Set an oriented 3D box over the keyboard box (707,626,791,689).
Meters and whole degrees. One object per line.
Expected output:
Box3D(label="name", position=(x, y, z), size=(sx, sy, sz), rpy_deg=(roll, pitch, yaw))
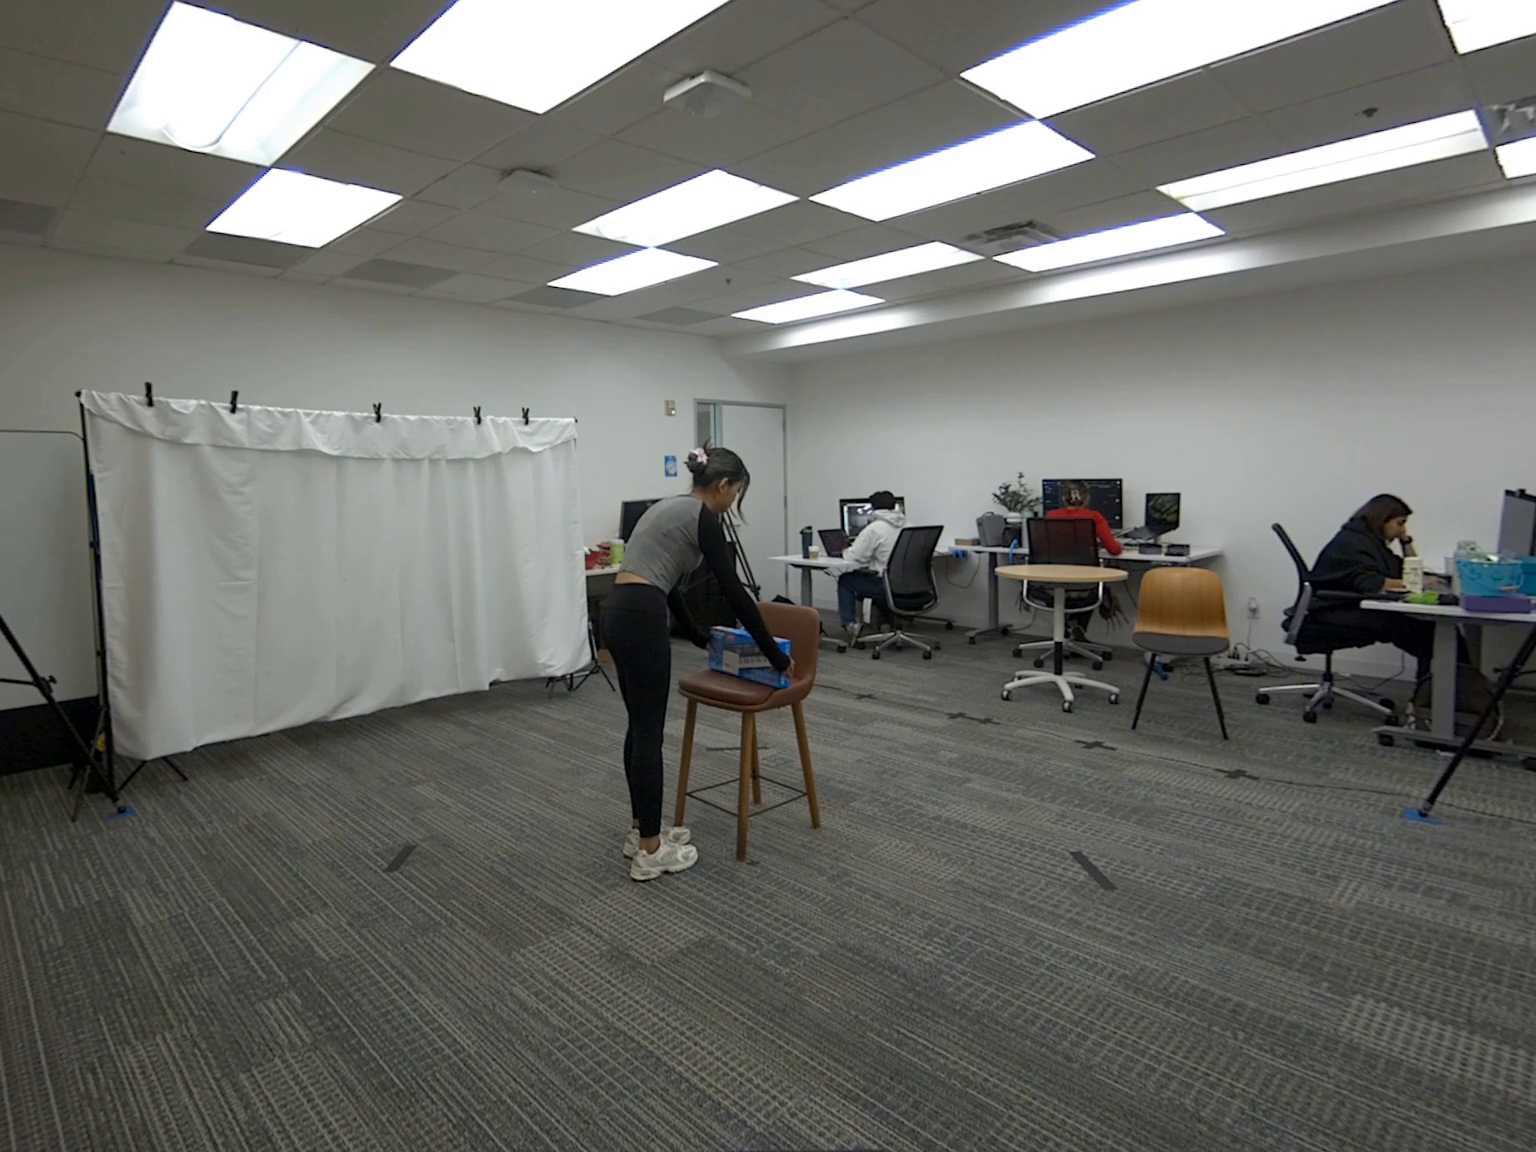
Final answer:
Box3D(label="keyboard box", position=(-0.079, 0.315, 3.365), size=(0.057, 0.175, 0.450), rpy_deg=(0, 5, -38))
